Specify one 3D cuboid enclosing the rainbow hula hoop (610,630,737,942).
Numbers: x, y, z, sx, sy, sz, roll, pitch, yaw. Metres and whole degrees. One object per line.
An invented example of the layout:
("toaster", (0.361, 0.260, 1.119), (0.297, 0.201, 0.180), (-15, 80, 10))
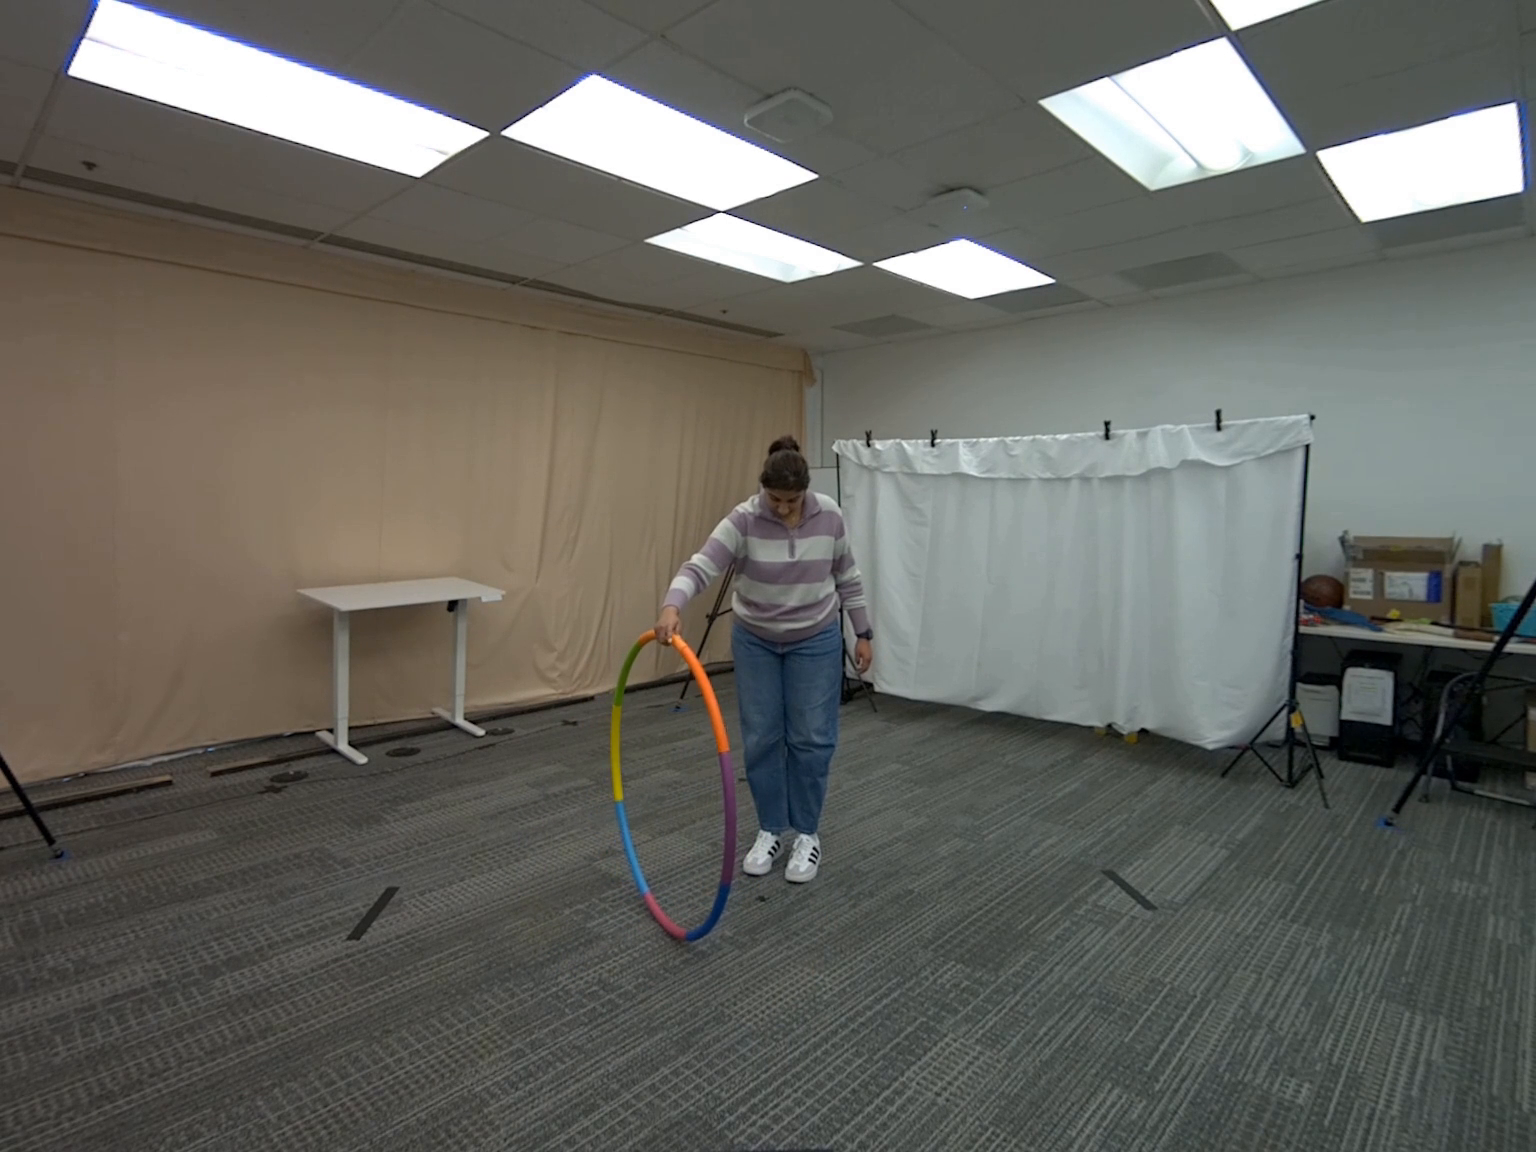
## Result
("rainbow hula hoop", (-0.335, 0.667, 2.773), (0.034, 0.977, 1.006), (-1, 4, -29))
